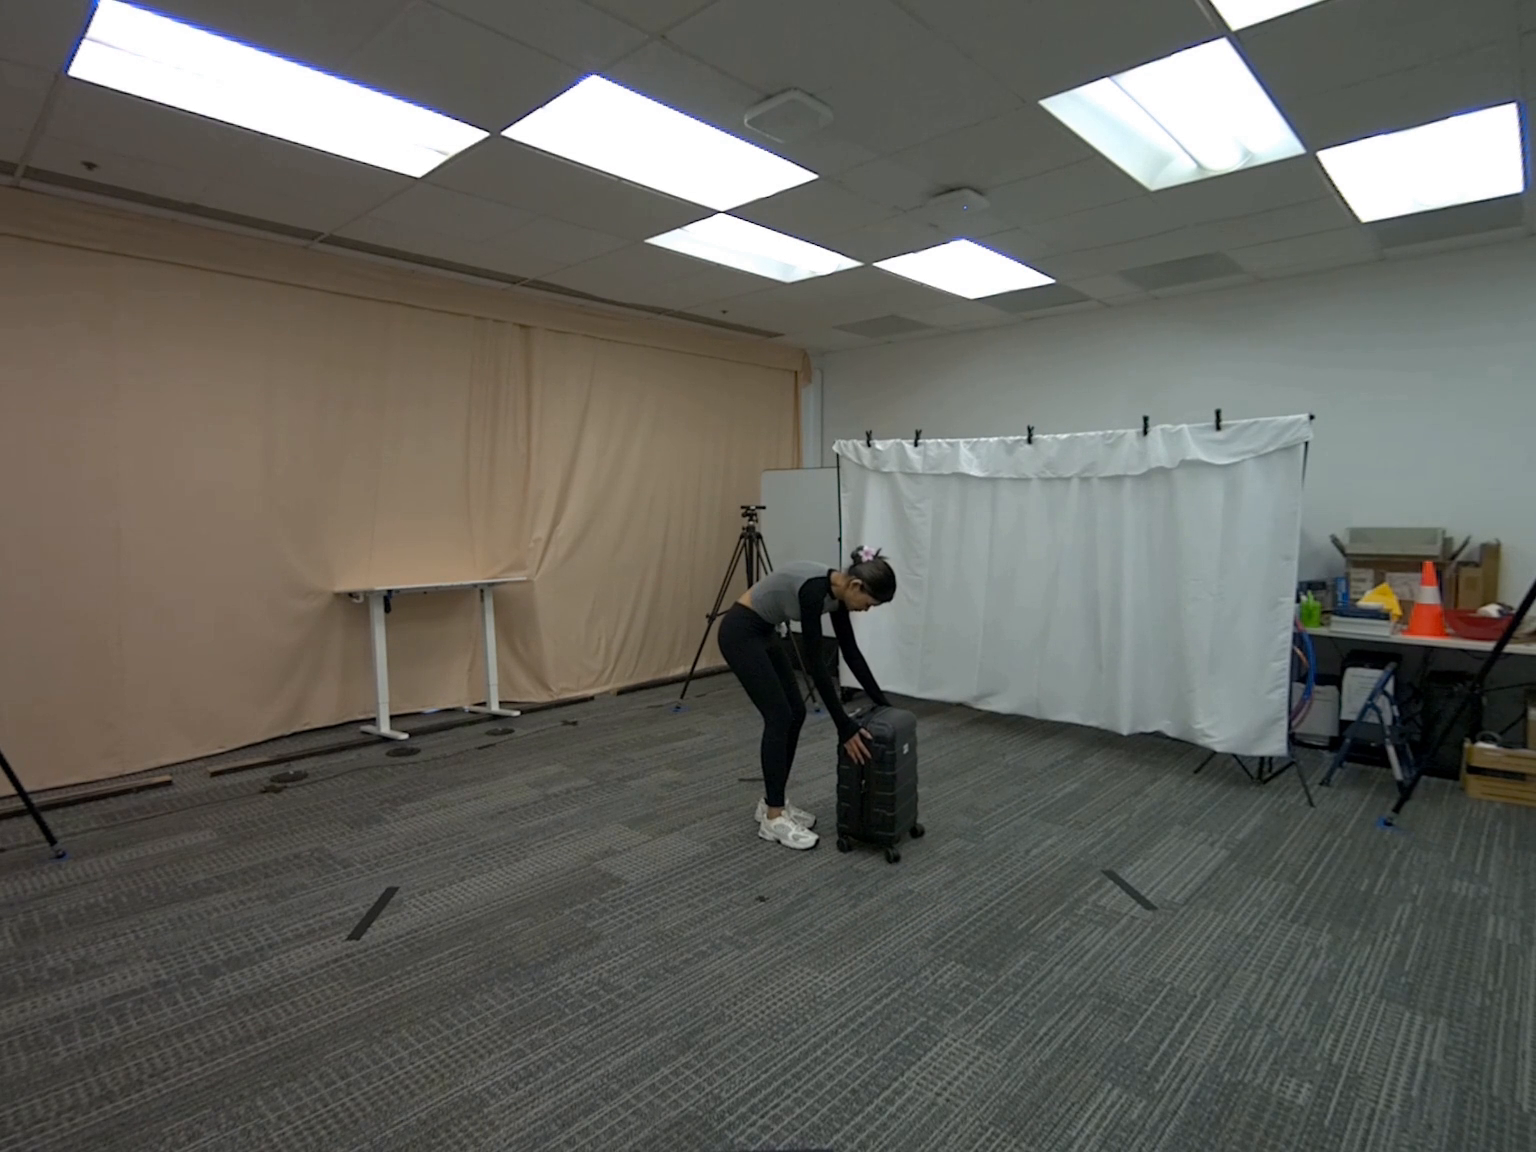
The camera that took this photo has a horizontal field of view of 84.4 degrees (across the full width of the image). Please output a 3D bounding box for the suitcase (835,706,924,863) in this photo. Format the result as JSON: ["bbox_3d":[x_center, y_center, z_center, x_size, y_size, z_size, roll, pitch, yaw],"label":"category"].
[{"bbox_3d":[0.463,0.829,3.475,0.255,0.549,0.365,1,2,28],"label":"suitcase"}]
